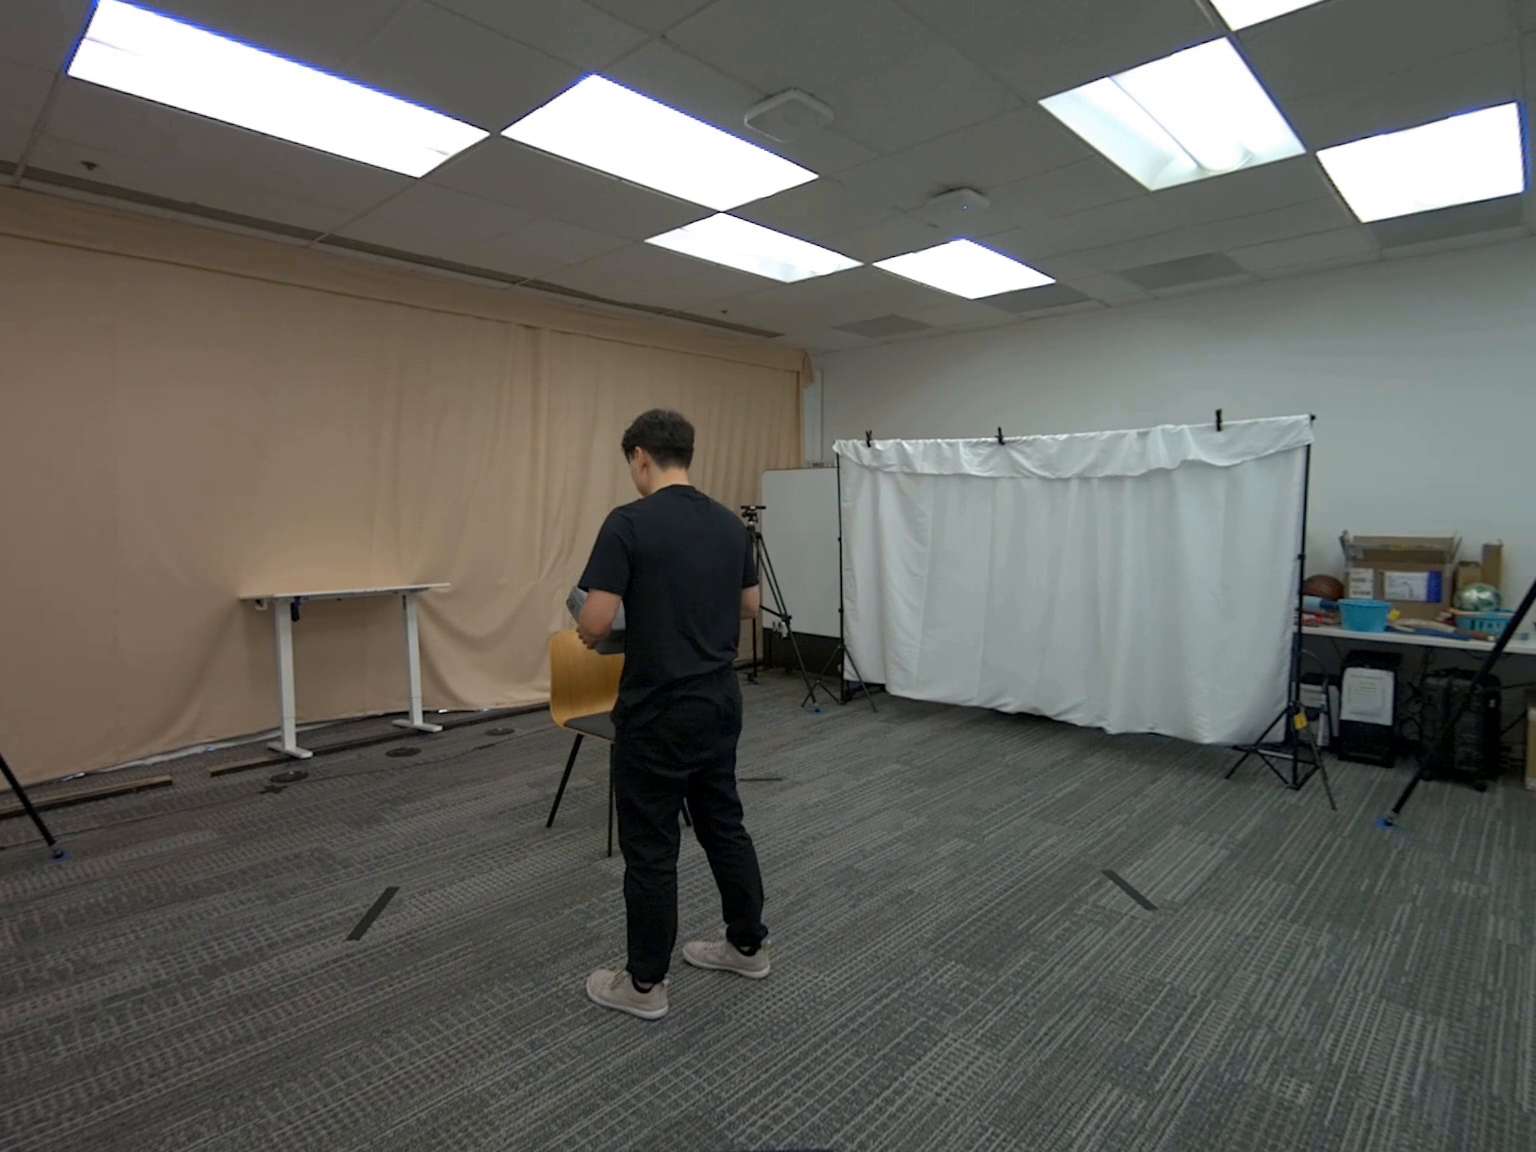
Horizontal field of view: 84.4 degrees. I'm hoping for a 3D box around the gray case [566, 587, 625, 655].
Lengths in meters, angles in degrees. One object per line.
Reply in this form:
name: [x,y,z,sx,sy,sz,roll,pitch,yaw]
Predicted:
gray case: [-0.463,0.114,2.597,0.249,0.104,0.270,1,34,-41]
